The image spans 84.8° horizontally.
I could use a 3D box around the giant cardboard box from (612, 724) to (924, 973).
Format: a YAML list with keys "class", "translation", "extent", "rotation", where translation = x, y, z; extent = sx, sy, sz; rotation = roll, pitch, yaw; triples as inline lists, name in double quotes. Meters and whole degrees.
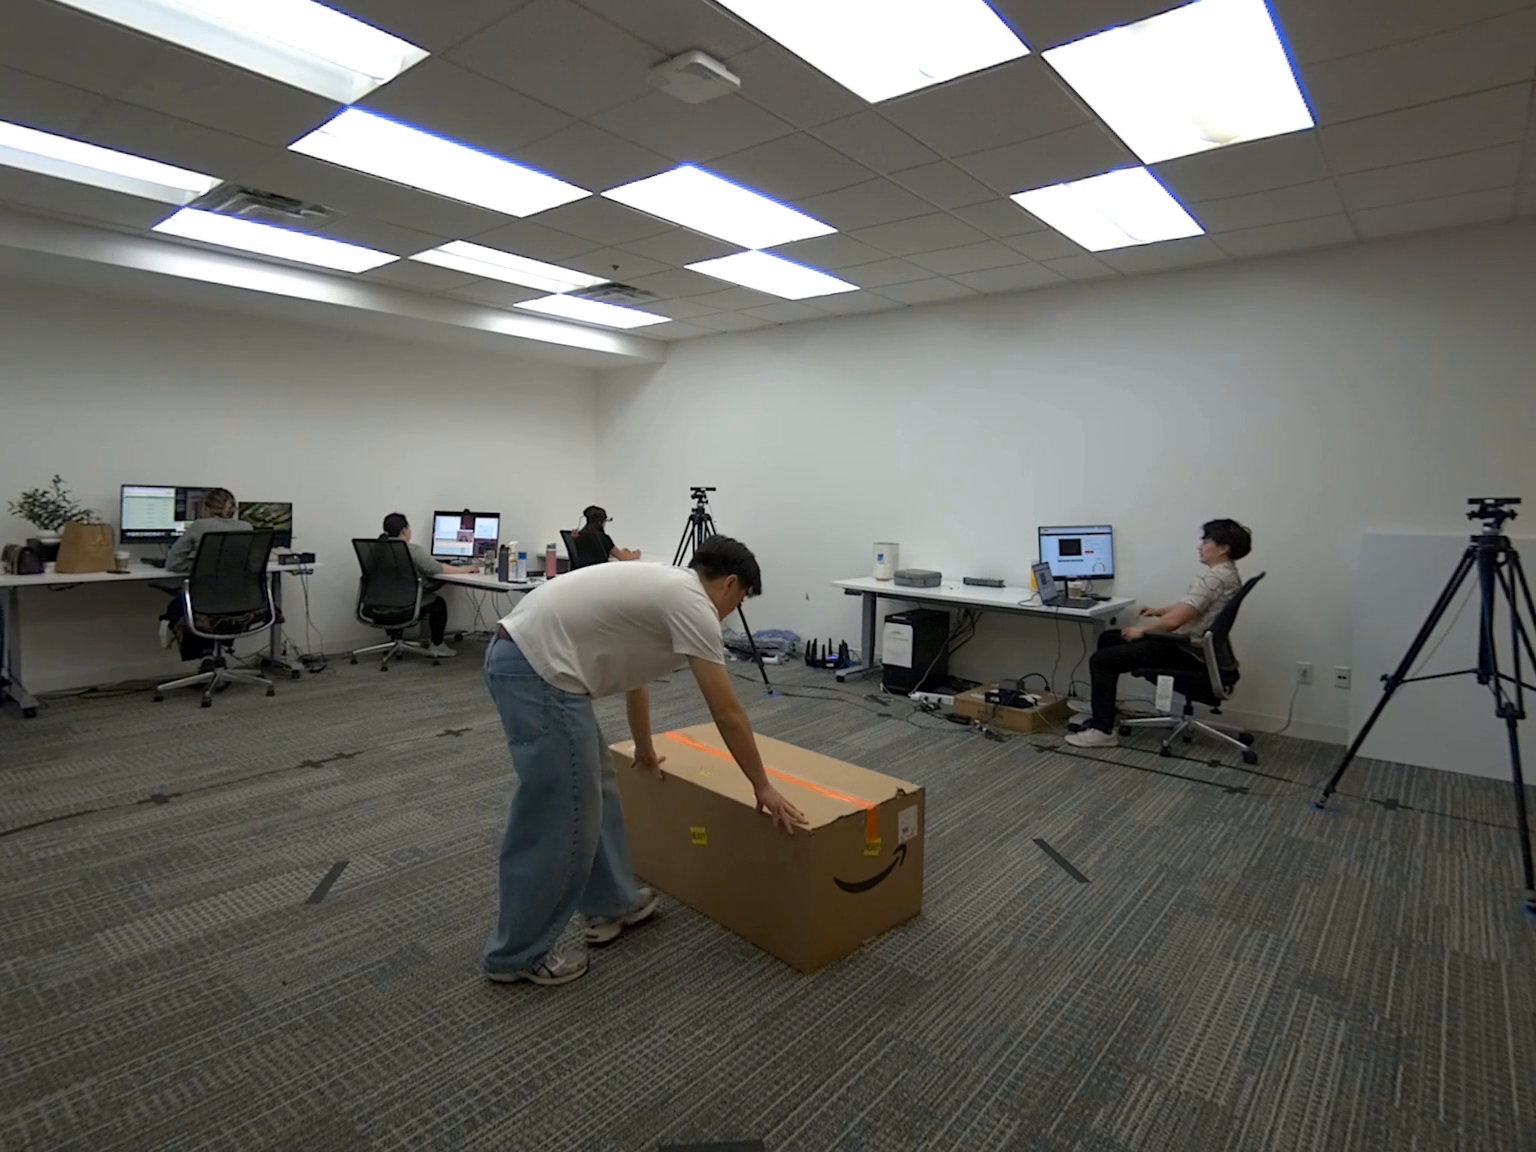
- class: "giant cardboard box"
  translation: [-0.052, 0.867, 2.988]
  extent: [0.560, 0.424, 1.061]
  rotation: [-4, 7, -44]
